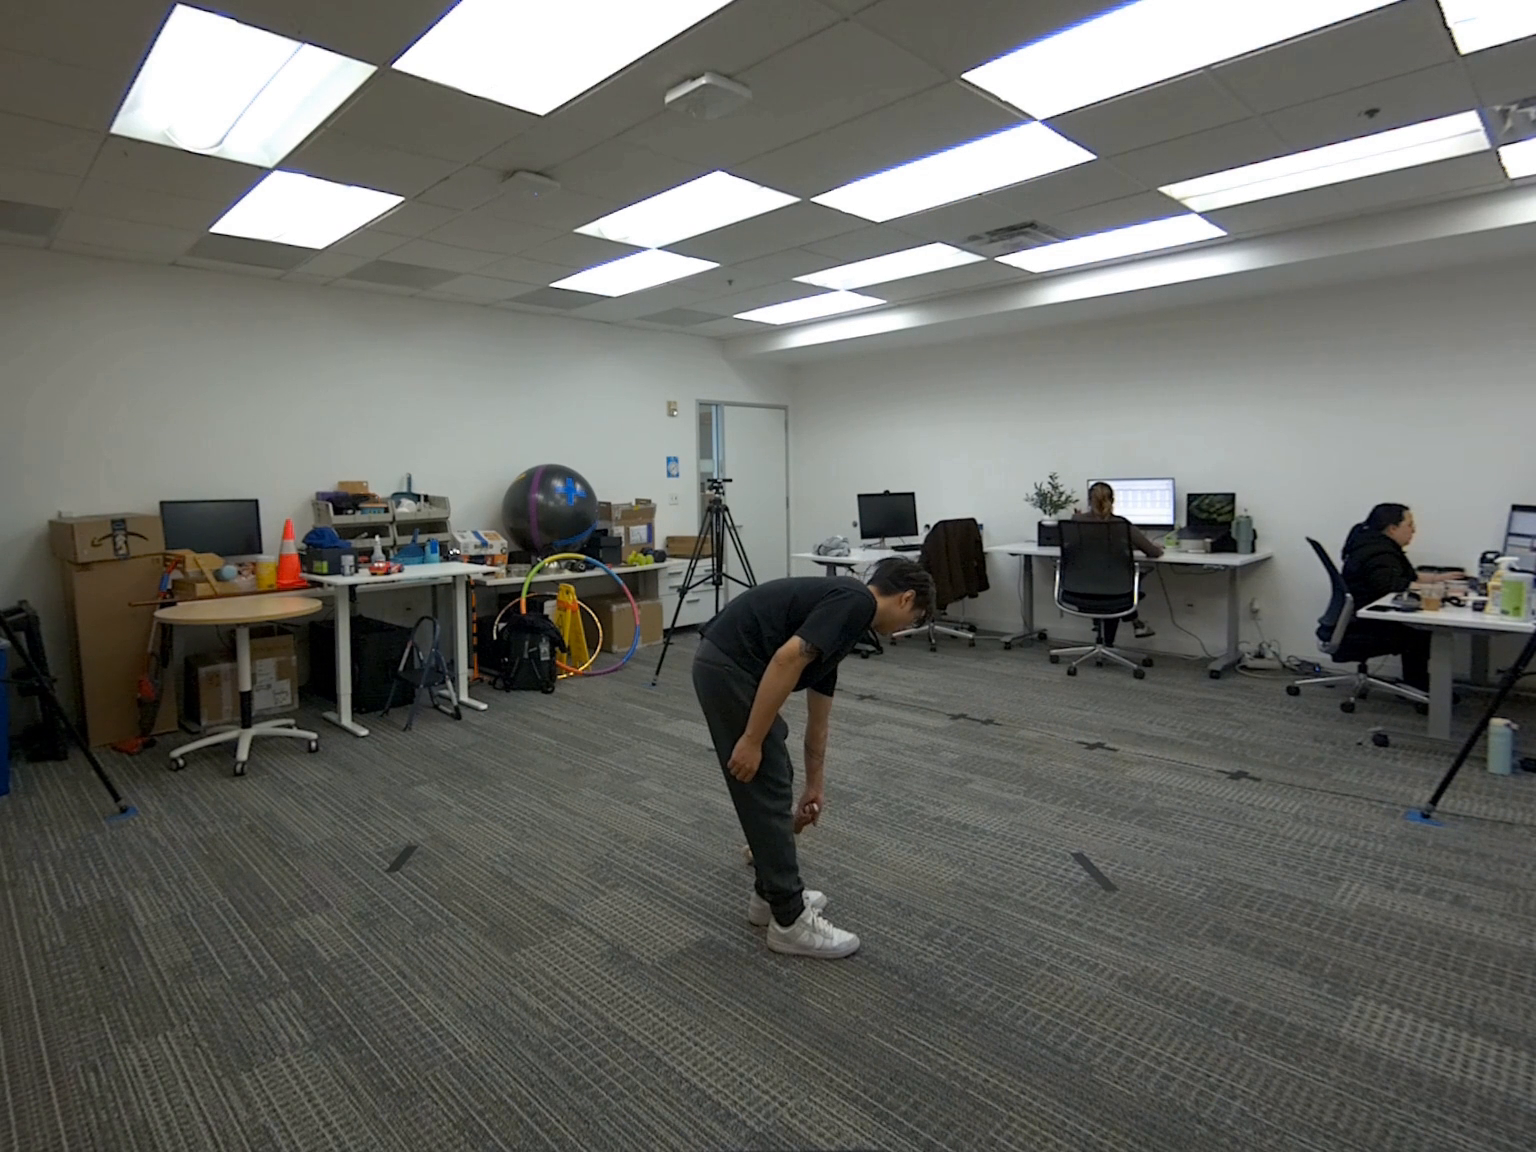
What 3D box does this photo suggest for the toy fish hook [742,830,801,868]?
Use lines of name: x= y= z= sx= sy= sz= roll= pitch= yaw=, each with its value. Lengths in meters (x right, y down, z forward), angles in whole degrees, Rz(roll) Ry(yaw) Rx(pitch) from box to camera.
toy fish hook: x=0.043 y=0.907 z=2.959 sx=0.221 sy=0.050 sz=0.499 roll=-6 pitch=-33 yaw=-20
